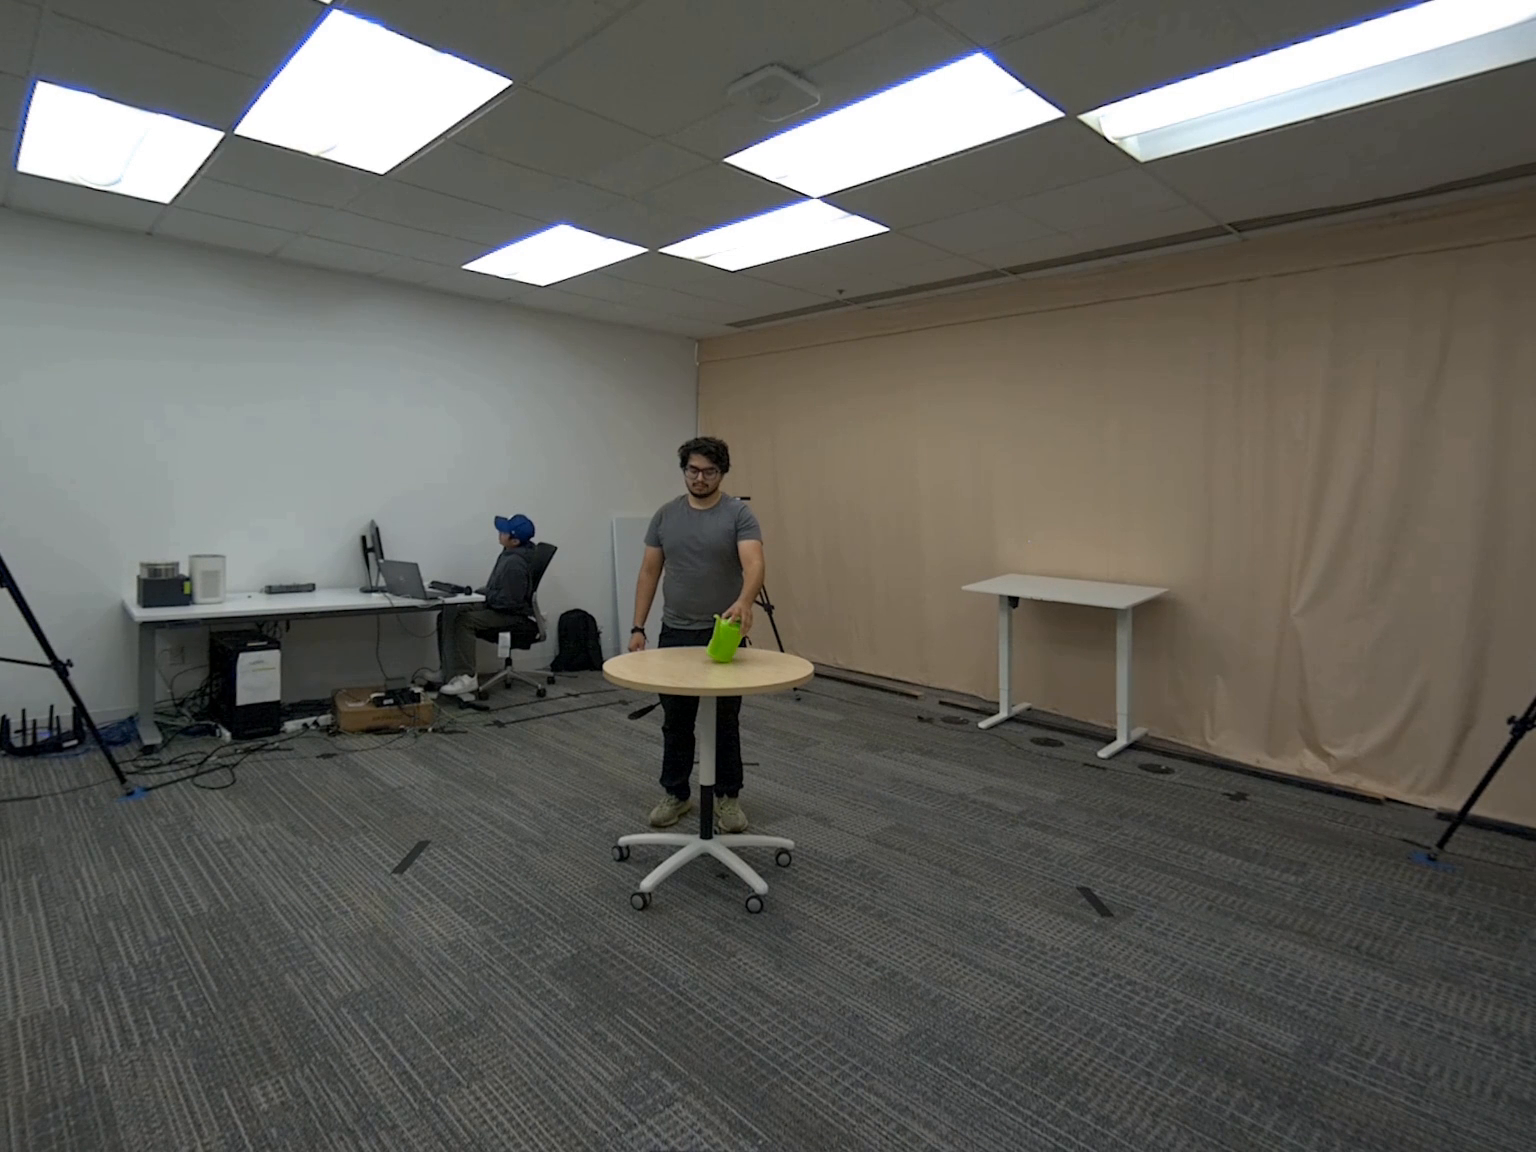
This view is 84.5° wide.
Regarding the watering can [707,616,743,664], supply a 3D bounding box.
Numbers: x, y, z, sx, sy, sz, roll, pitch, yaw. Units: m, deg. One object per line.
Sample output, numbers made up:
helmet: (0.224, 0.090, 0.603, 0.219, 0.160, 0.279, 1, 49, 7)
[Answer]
watering can: (-0.190, 0.215, 3.079, 0.101, 0.176, 0.271, 28, 12, 37)
